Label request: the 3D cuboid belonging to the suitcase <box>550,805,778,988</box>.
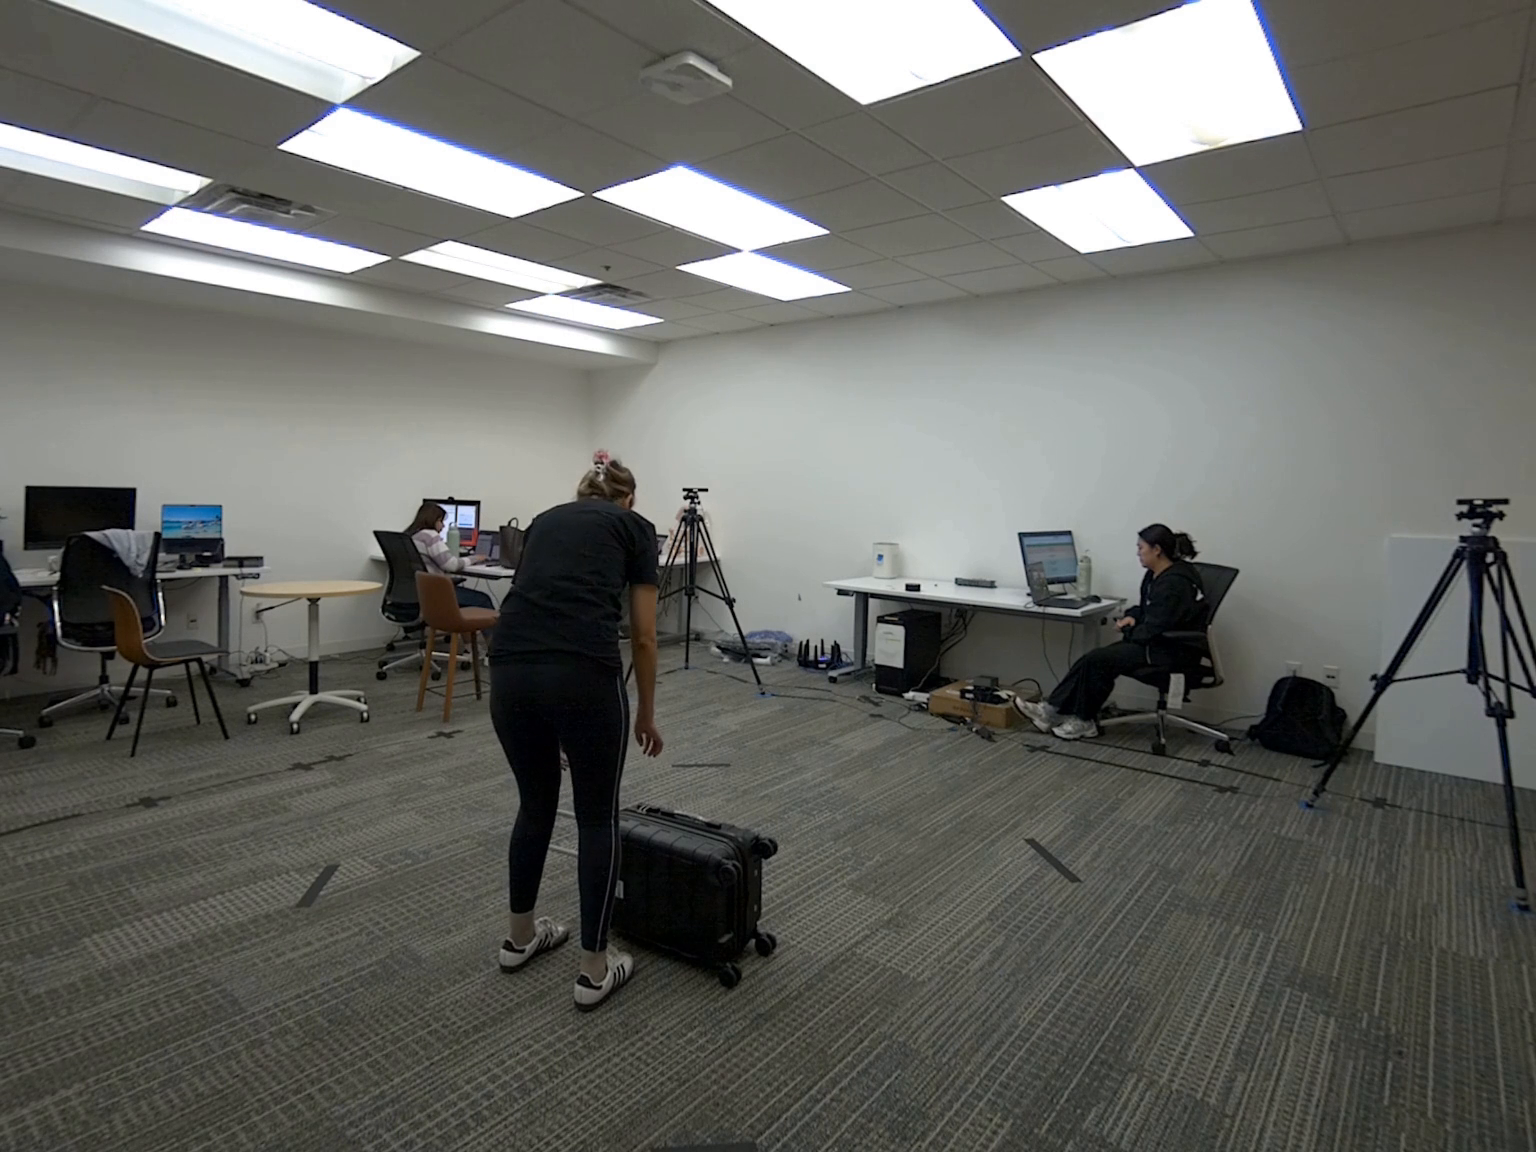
[{"bbox_3d":[-0.457,0.917,2.704,1.008,0.383,0.250,4,3,30],"label":"suitcase"}]
